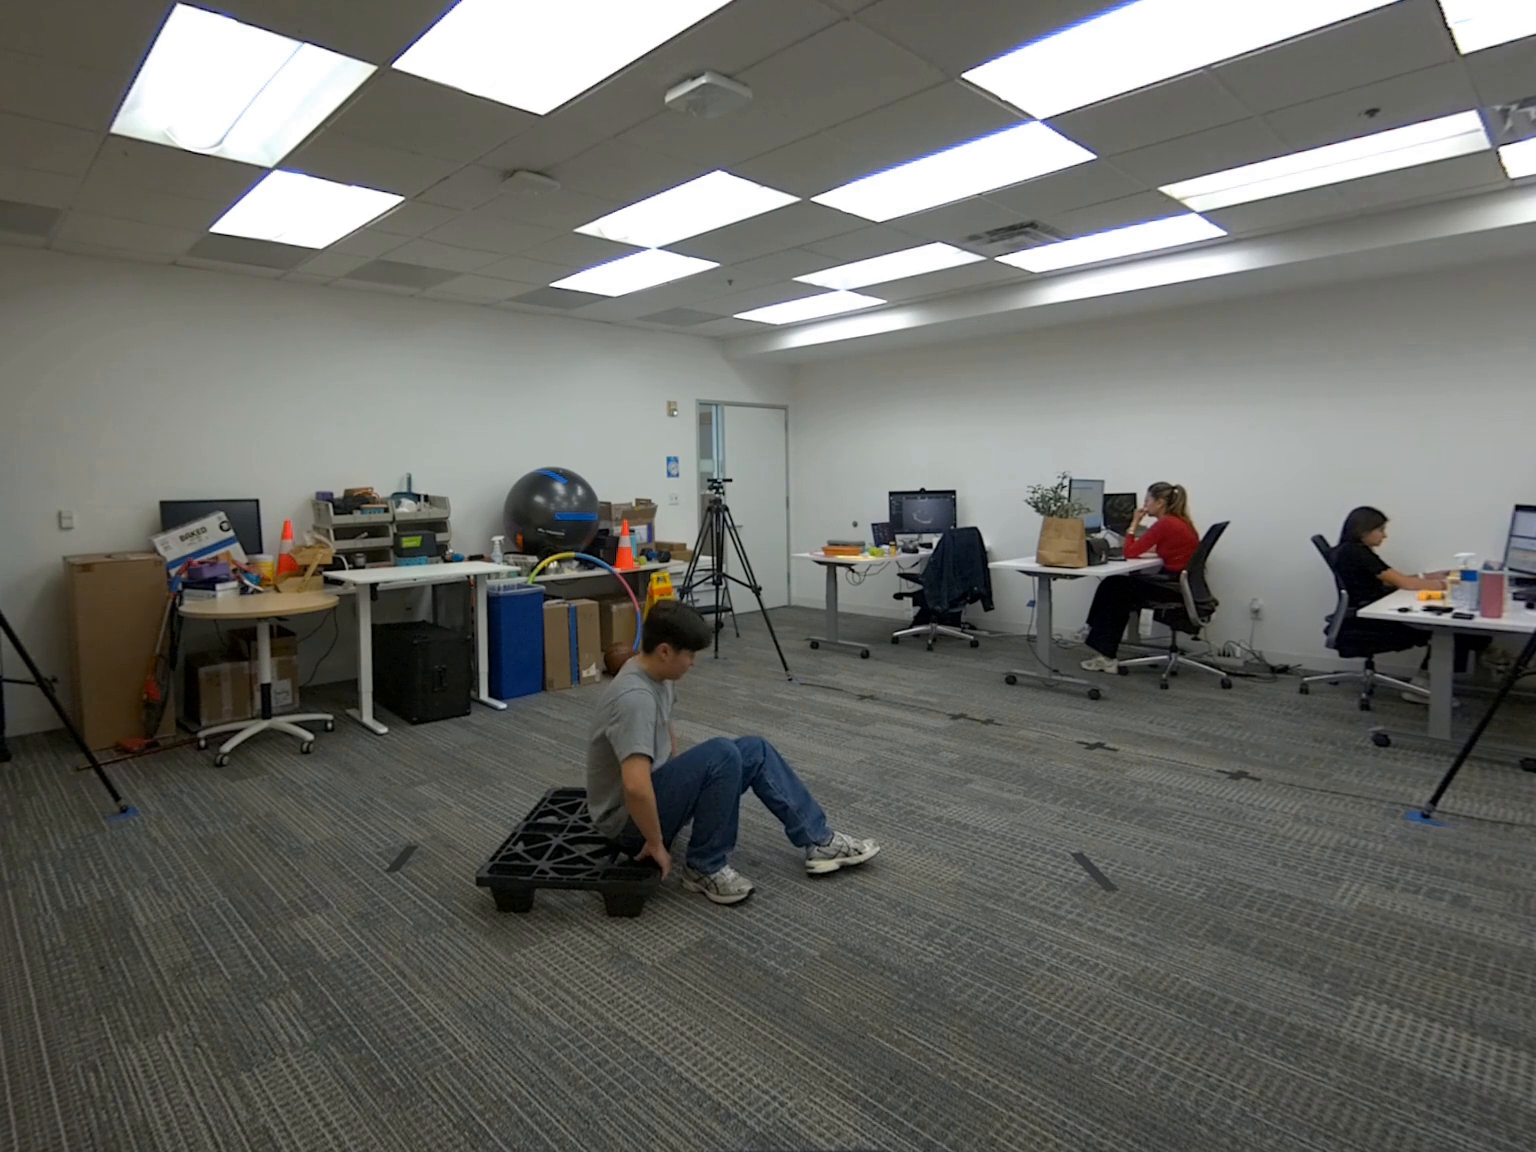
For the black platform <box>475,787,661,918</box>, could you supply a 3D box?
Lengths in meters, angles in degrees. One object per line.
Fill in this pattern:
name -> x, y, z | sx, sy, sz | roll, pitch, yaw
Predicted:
black platform -> -0.619, 0.983, 3.122 | 0.609, 0.142, 0.805 | 0, 7, 5
